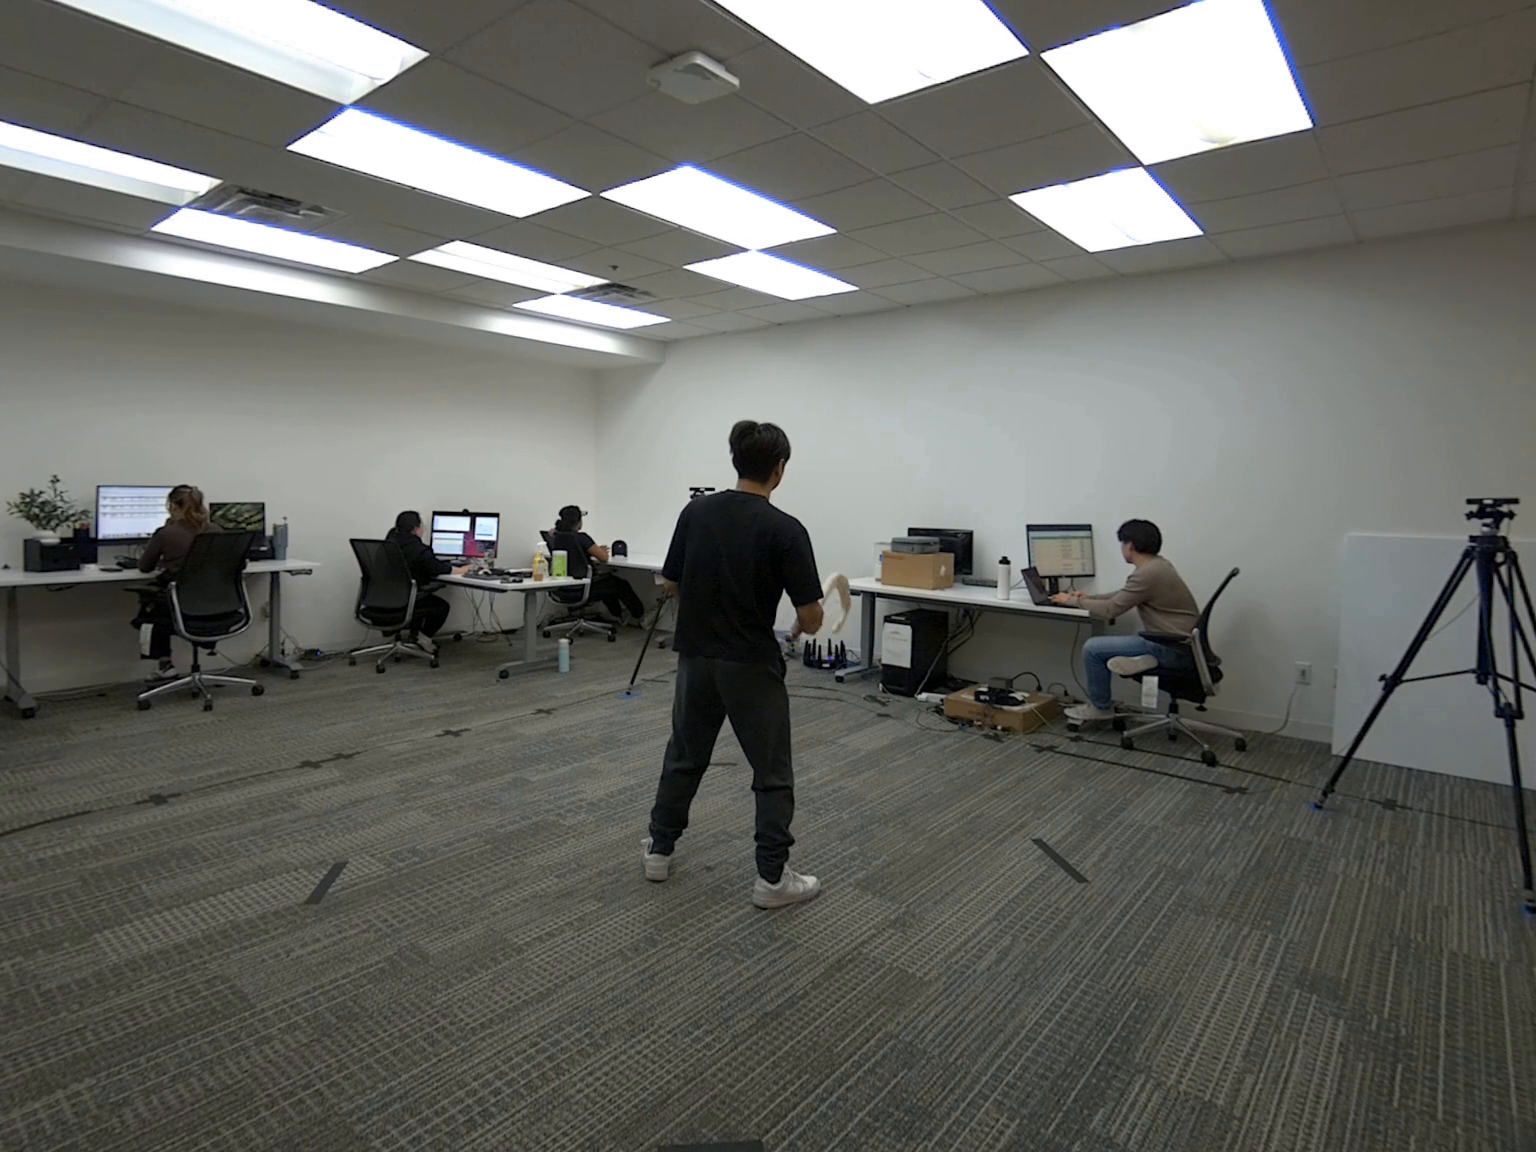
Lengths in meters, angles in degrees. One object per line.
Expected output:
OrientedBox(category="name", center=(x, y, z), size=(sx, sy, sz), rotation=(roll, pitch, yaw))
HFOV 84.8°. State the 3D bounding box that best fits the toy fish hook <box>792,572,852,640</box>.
OrientedBox(category="toy fish hook", center=(0.183, 0.150, 3.182), size=(0.049, 0.220, 0.503), rotation=(-8, 21, 35))
